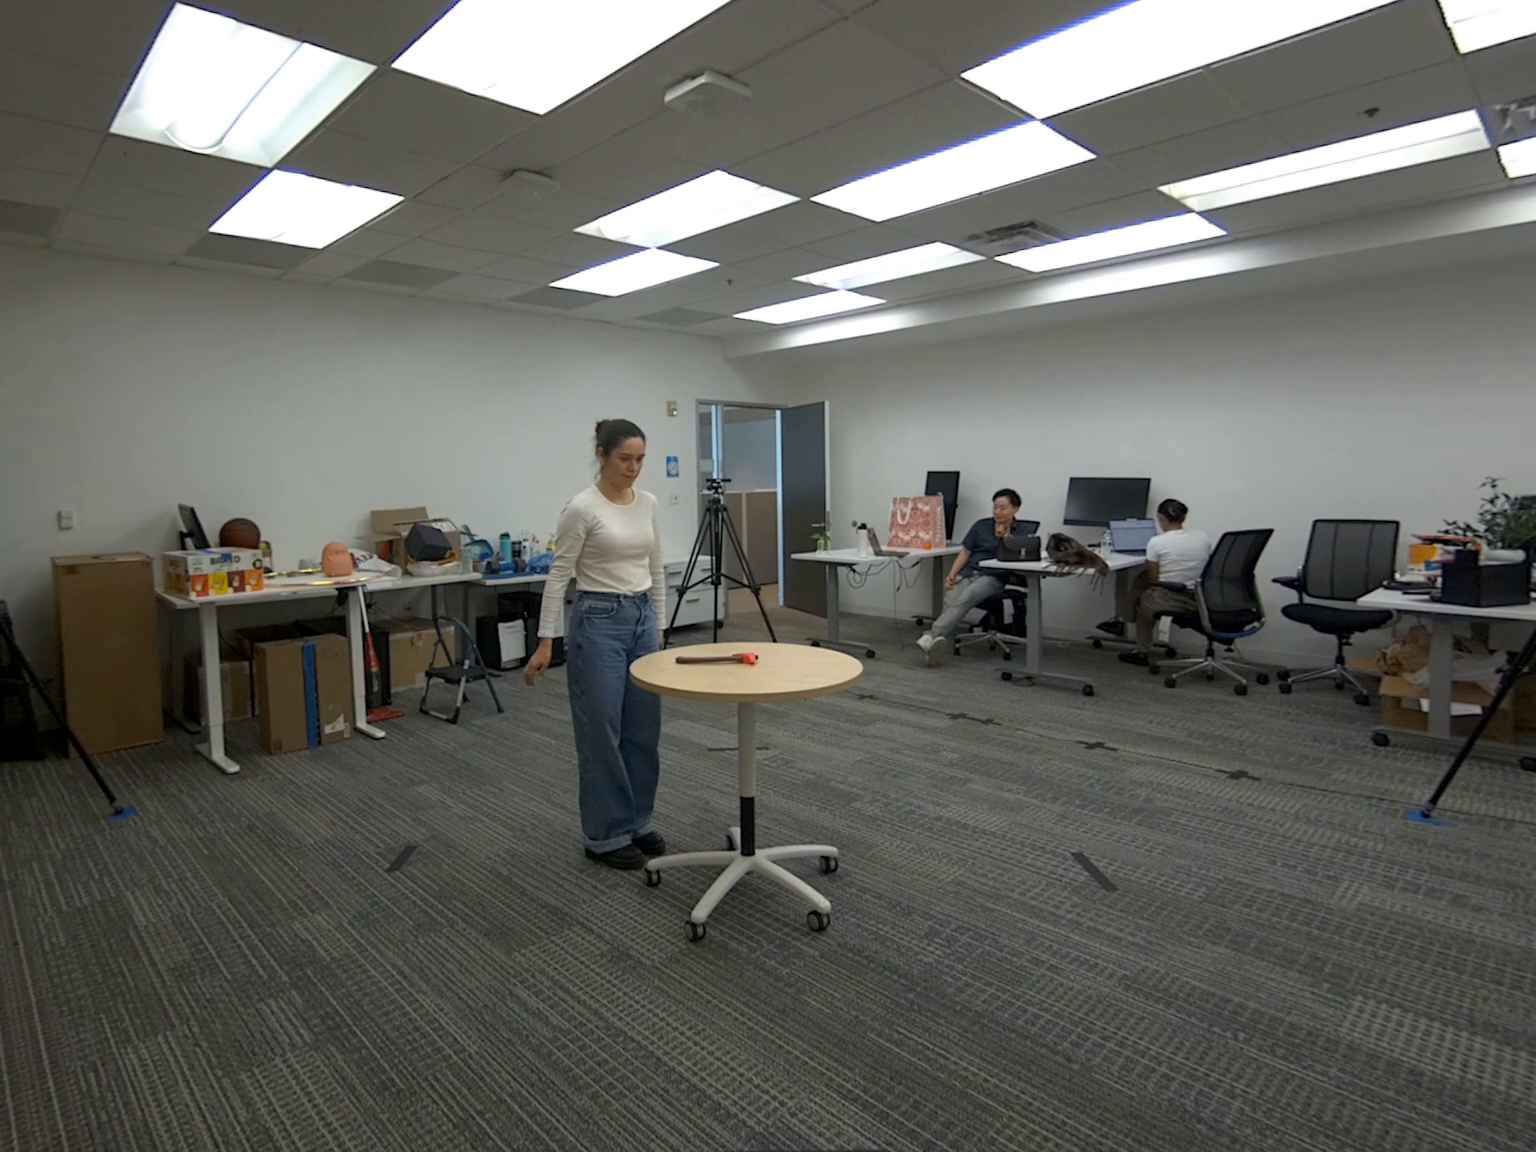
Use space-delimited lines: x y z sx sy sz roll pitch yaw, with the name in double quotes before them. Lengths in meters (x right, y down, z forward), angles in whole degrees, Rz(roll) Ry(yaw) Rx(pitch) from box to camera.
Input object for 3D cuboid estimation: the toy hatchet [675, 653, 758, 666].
"toy hatchet" -0.160 0.273 2.882 0.273 0.029 0.130 0 5 12
